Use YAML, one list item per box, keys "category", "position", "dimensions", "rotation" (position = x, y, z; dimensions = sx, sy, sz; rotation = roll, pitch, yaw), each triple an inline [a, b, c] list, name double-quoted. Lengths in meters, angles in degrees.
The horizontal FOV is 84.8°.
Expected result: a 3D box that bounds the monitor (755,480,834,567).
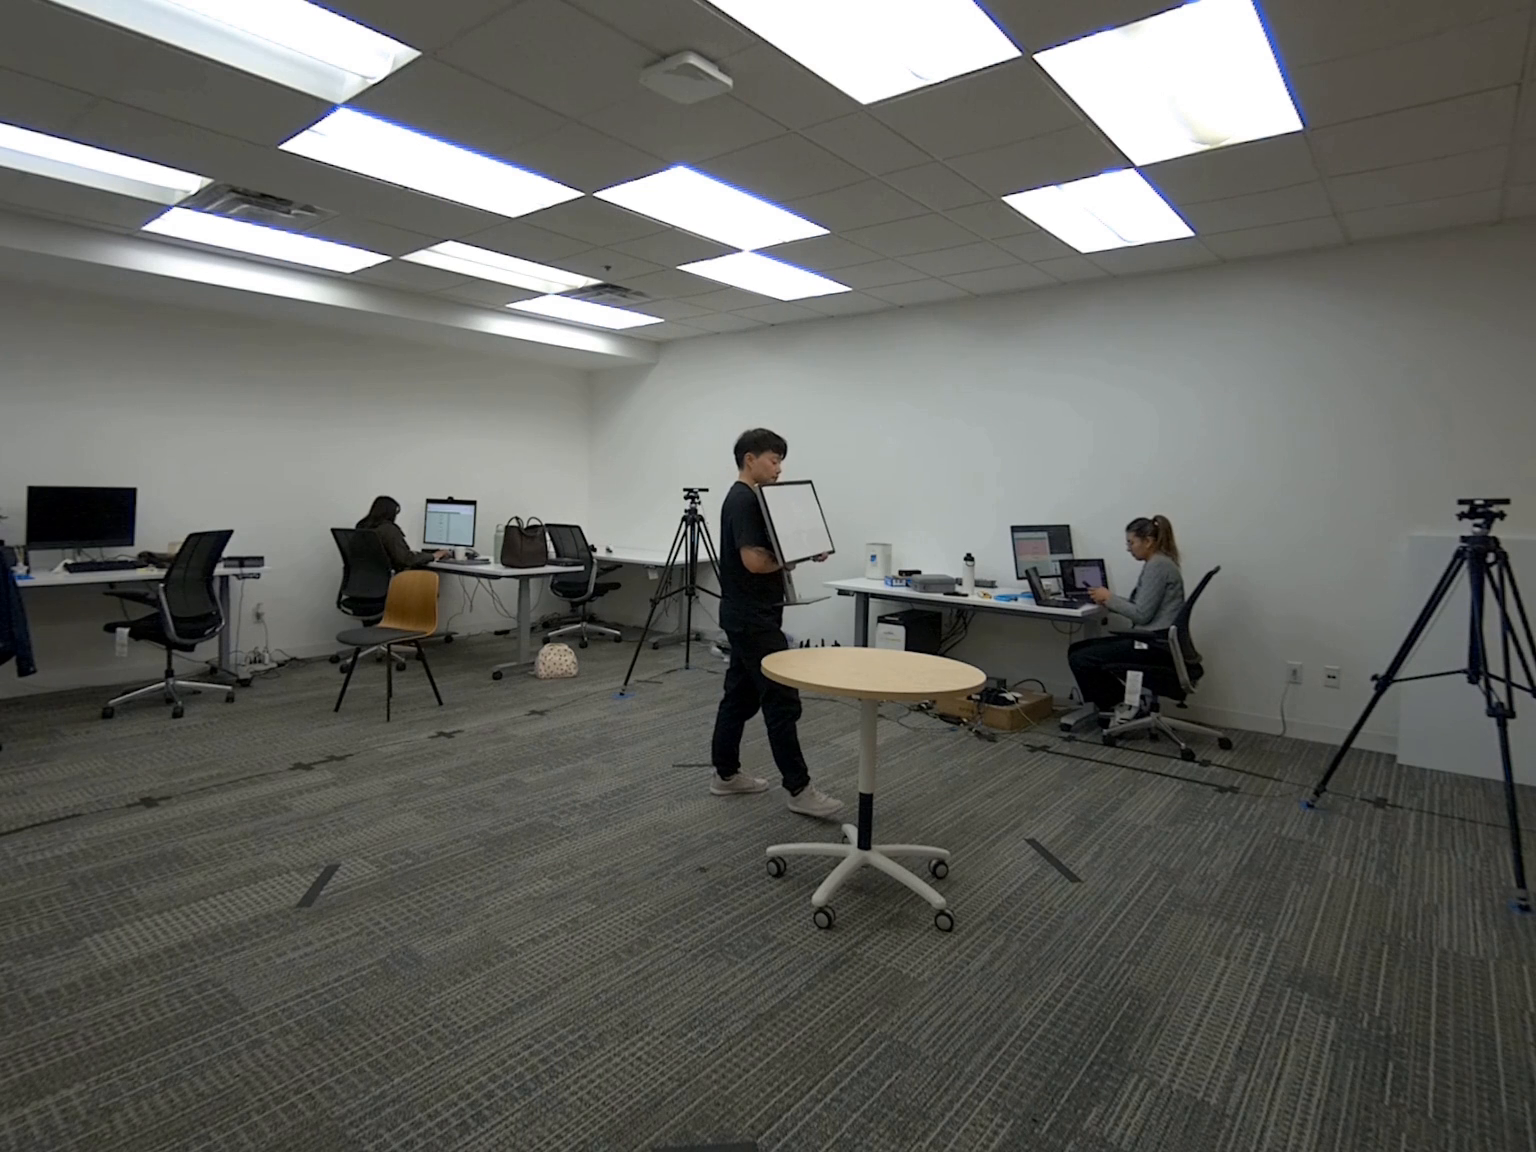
- category: "monitor"
  position: [0.107, -0.154, 3.765]
  dimensions: [0.191, 0.522, 0.528]
  rotation: [-7, 3, 27]
